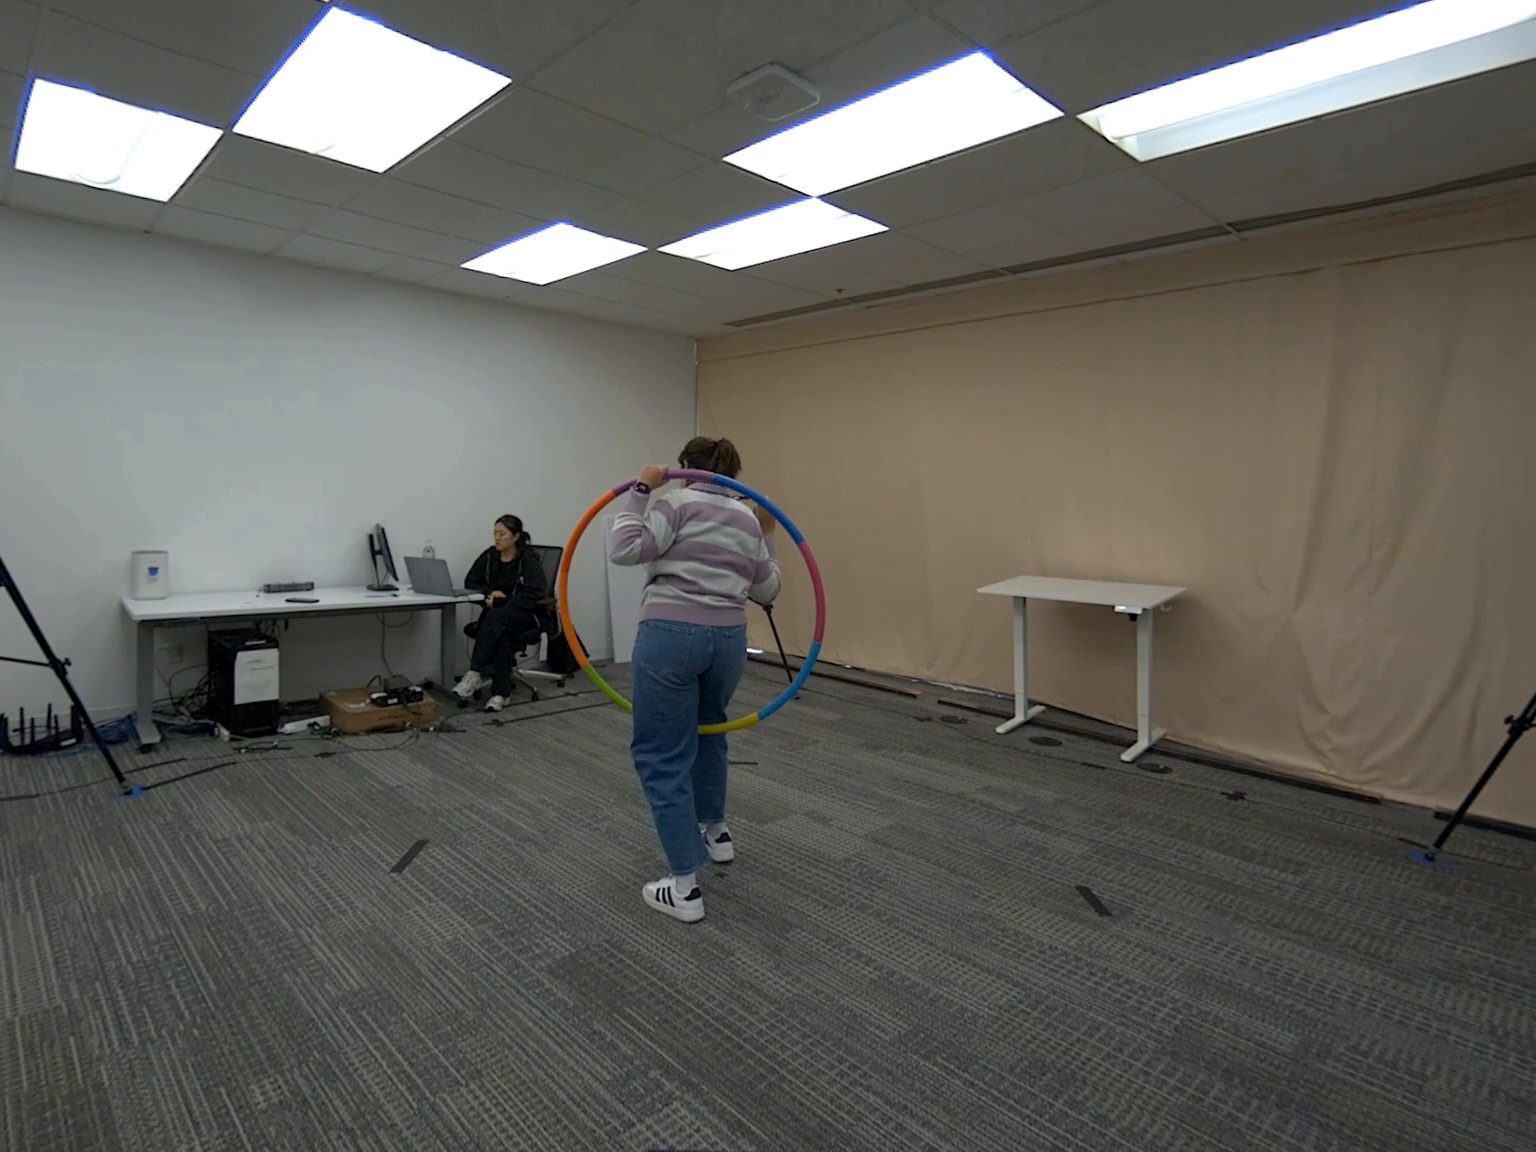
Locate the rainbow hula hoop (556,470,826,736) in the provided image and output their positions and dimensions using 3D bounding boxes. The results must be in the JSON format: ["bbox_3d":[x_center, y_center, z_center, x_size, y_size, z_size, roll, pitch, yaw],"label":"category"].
[{"bbox_3d":[-0.293,0.109,3.019,0.995,0.975,0.051,2,13,11],"label":"rainbow hula hoop"}]
